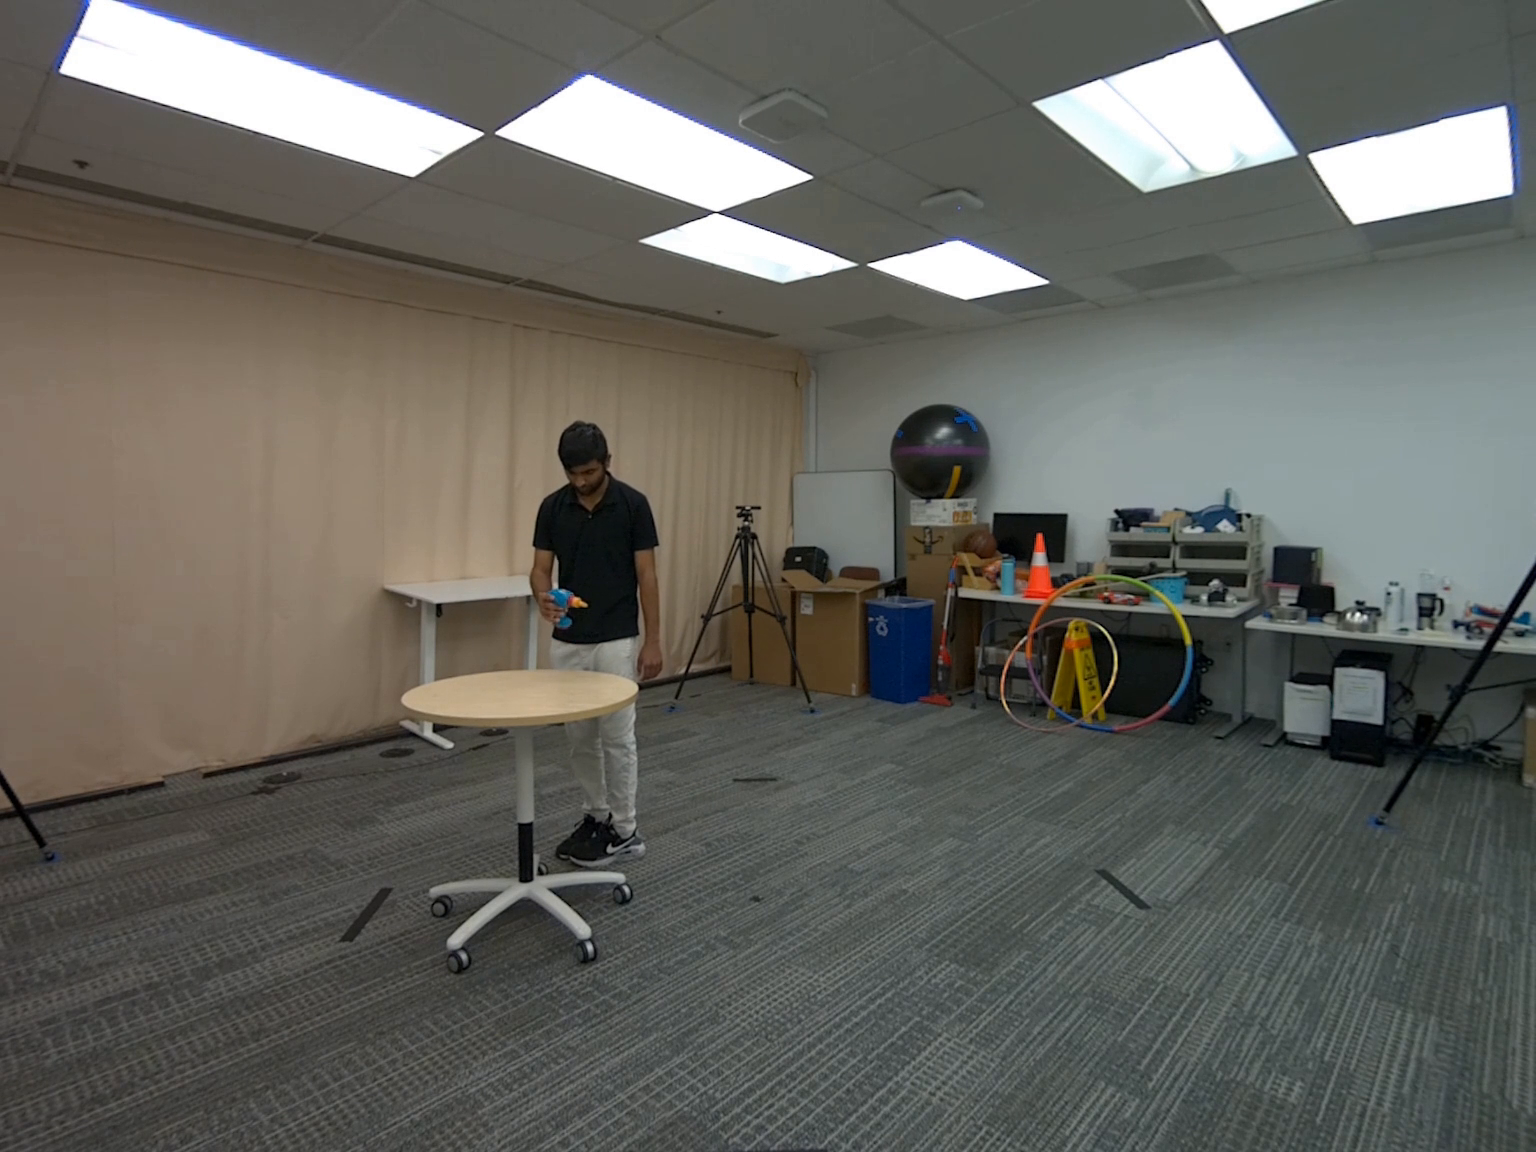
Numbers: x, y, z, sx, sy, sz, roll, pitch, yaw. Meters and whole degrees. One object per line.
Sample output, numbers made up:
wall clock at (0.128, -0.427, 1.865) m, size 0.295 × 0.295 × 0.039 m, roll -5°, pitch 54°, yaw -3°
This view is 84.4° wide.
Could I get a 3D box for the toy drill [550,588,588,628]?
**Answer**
toy drill at (-0.712, 0.114, 3.002) m, size 0.171 × 0.061 × 0.144 m, roll 20°, pitch -26°, yaw 7°
